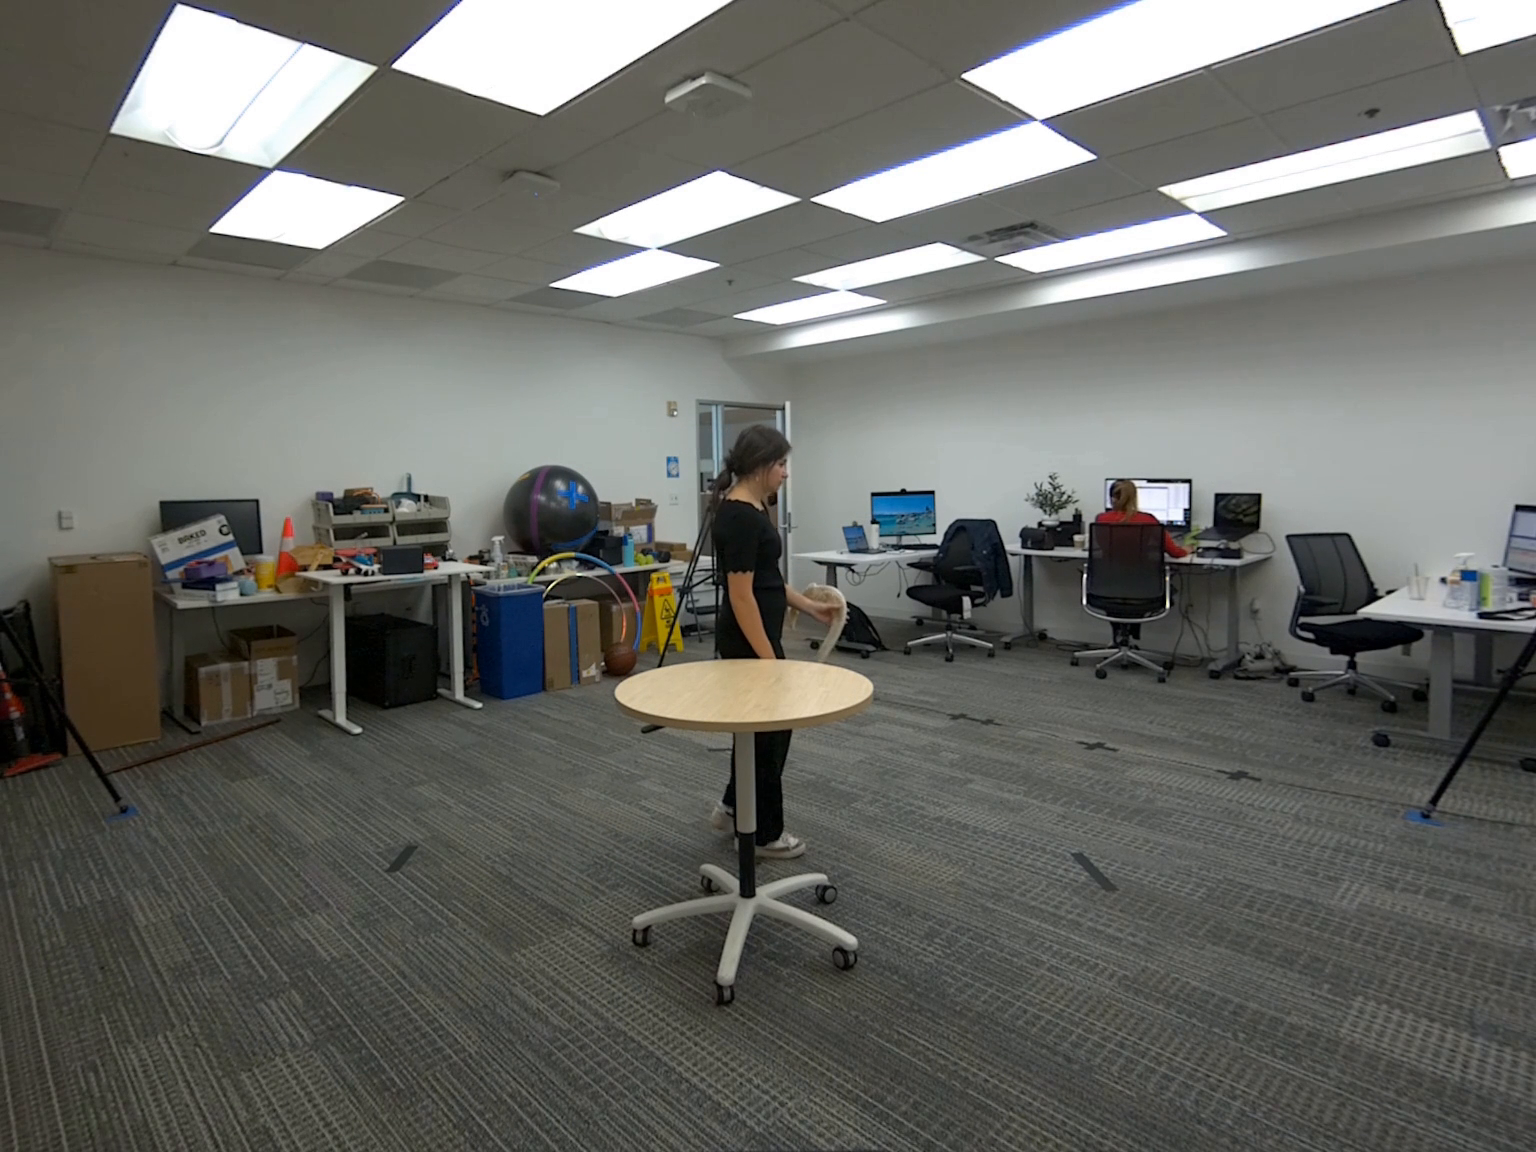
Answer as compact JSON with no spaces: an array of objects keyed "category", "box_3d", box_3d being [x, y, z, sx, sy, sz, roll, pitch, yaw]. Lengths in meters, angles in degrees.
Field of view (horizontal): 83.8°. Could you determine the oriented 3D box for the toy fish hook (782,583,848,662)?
[{"category":"toy fish hook","box_3d":[0.157,0.271,3.228,0.231,0.510,0.046,9,-11,31]}]
